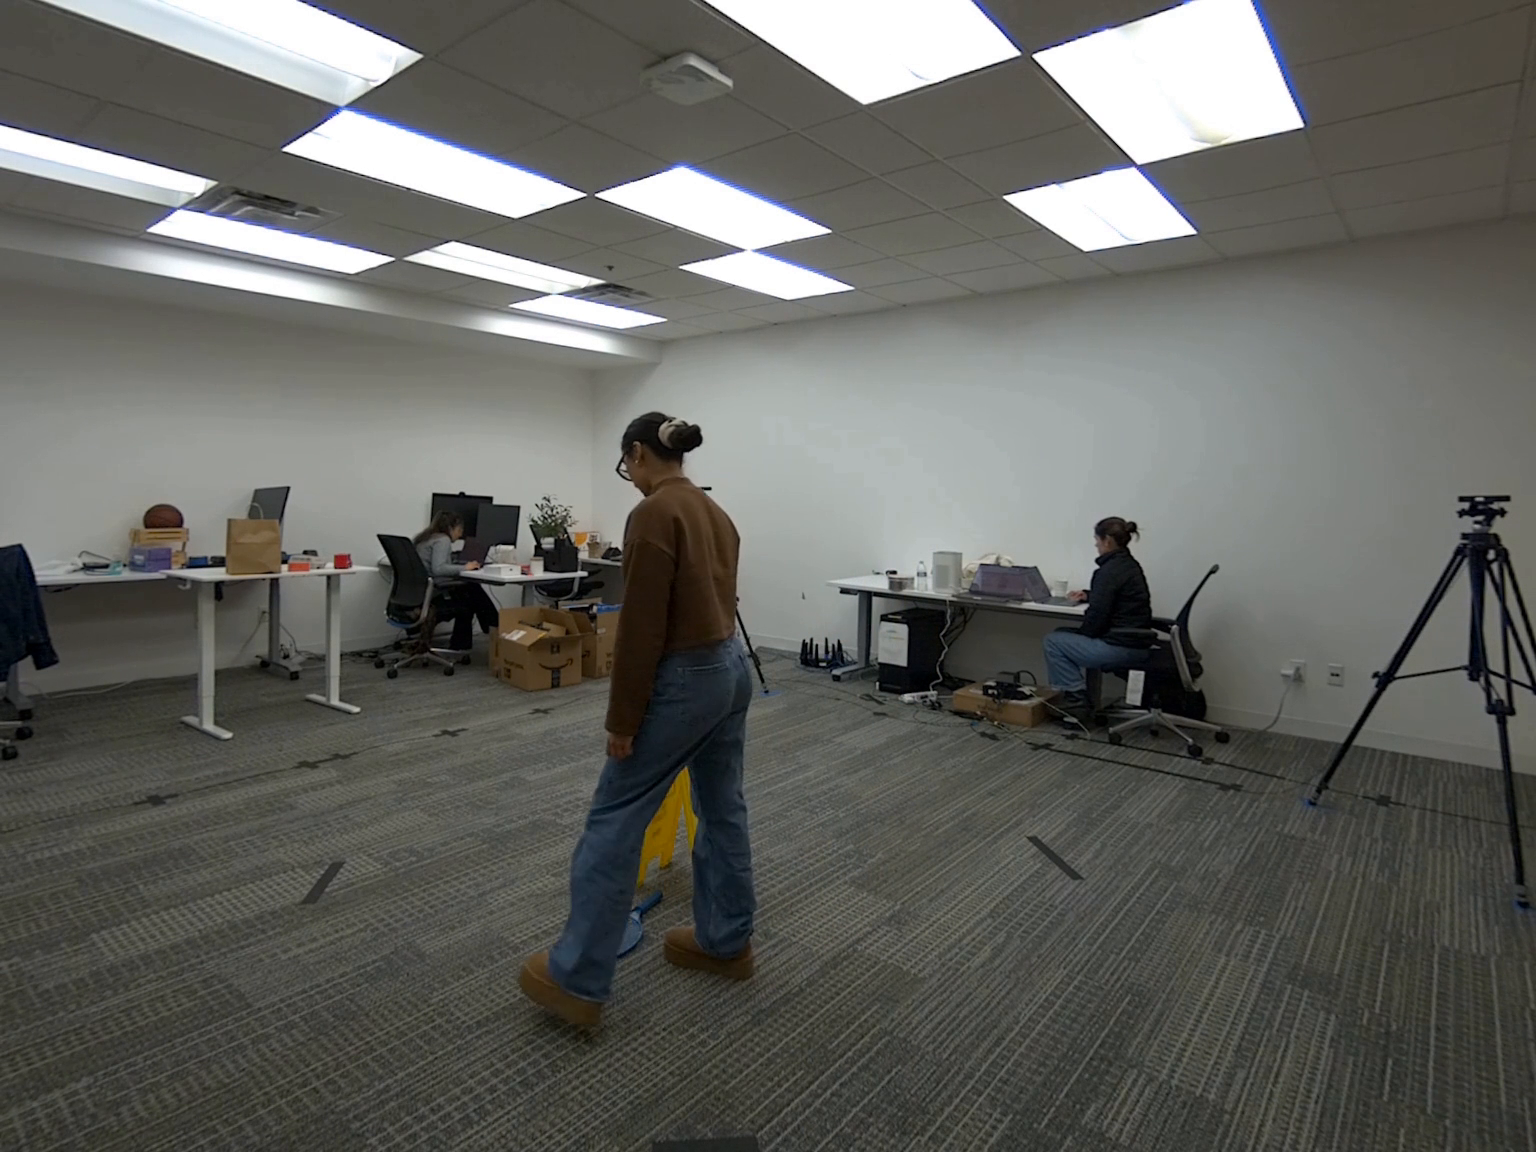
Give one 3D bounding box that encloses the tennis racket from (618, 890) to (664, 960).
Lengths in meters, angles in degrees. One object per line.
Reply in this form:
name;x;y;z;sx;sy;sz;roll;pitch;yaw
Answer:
tennis racket;-0.465;1.088;2.675;0.220;0.031;0.423;4;8;27
